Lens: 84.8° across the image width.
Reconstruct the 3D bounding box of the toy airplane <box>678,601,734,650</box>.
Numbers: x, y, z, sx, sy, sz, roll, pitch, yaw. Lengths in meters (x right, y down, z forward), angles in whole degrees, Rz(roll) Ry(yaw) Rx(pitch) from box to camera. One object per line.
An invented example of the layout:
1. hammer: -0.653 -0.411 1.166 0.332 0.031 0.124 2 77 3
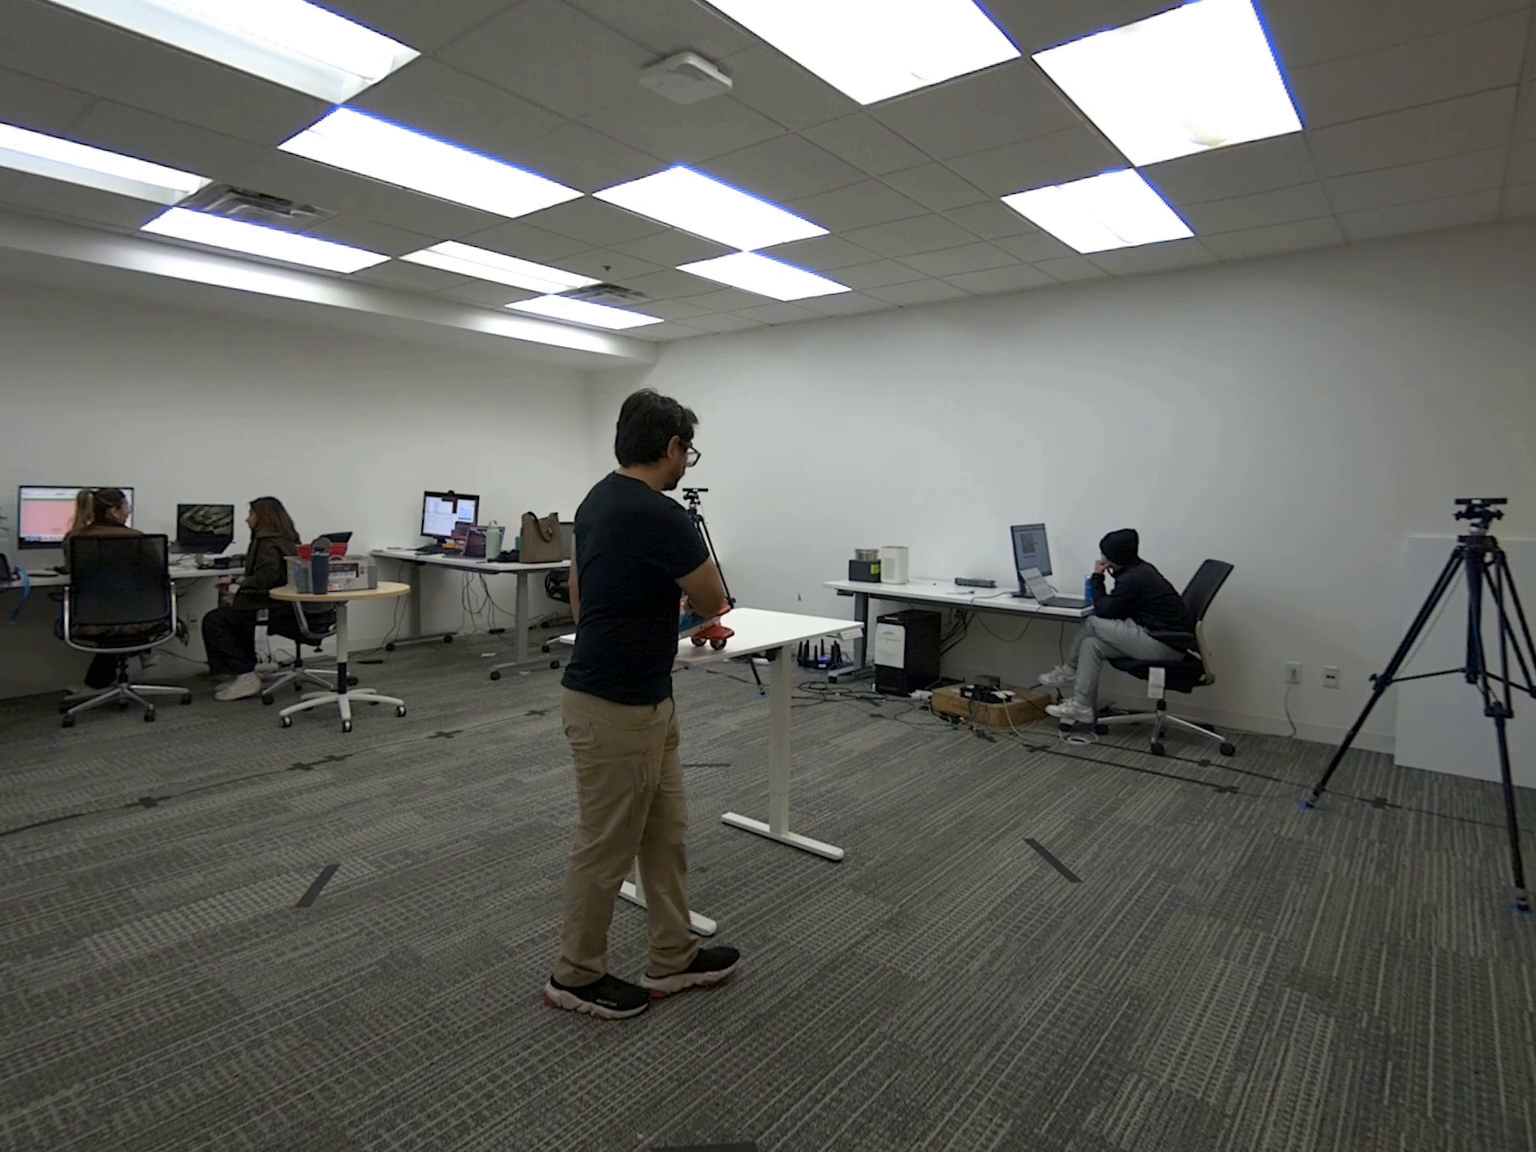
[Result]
1. toy airplane: -0.230 0.157 2.638 0.255 0.156 0.256 1 3 14
